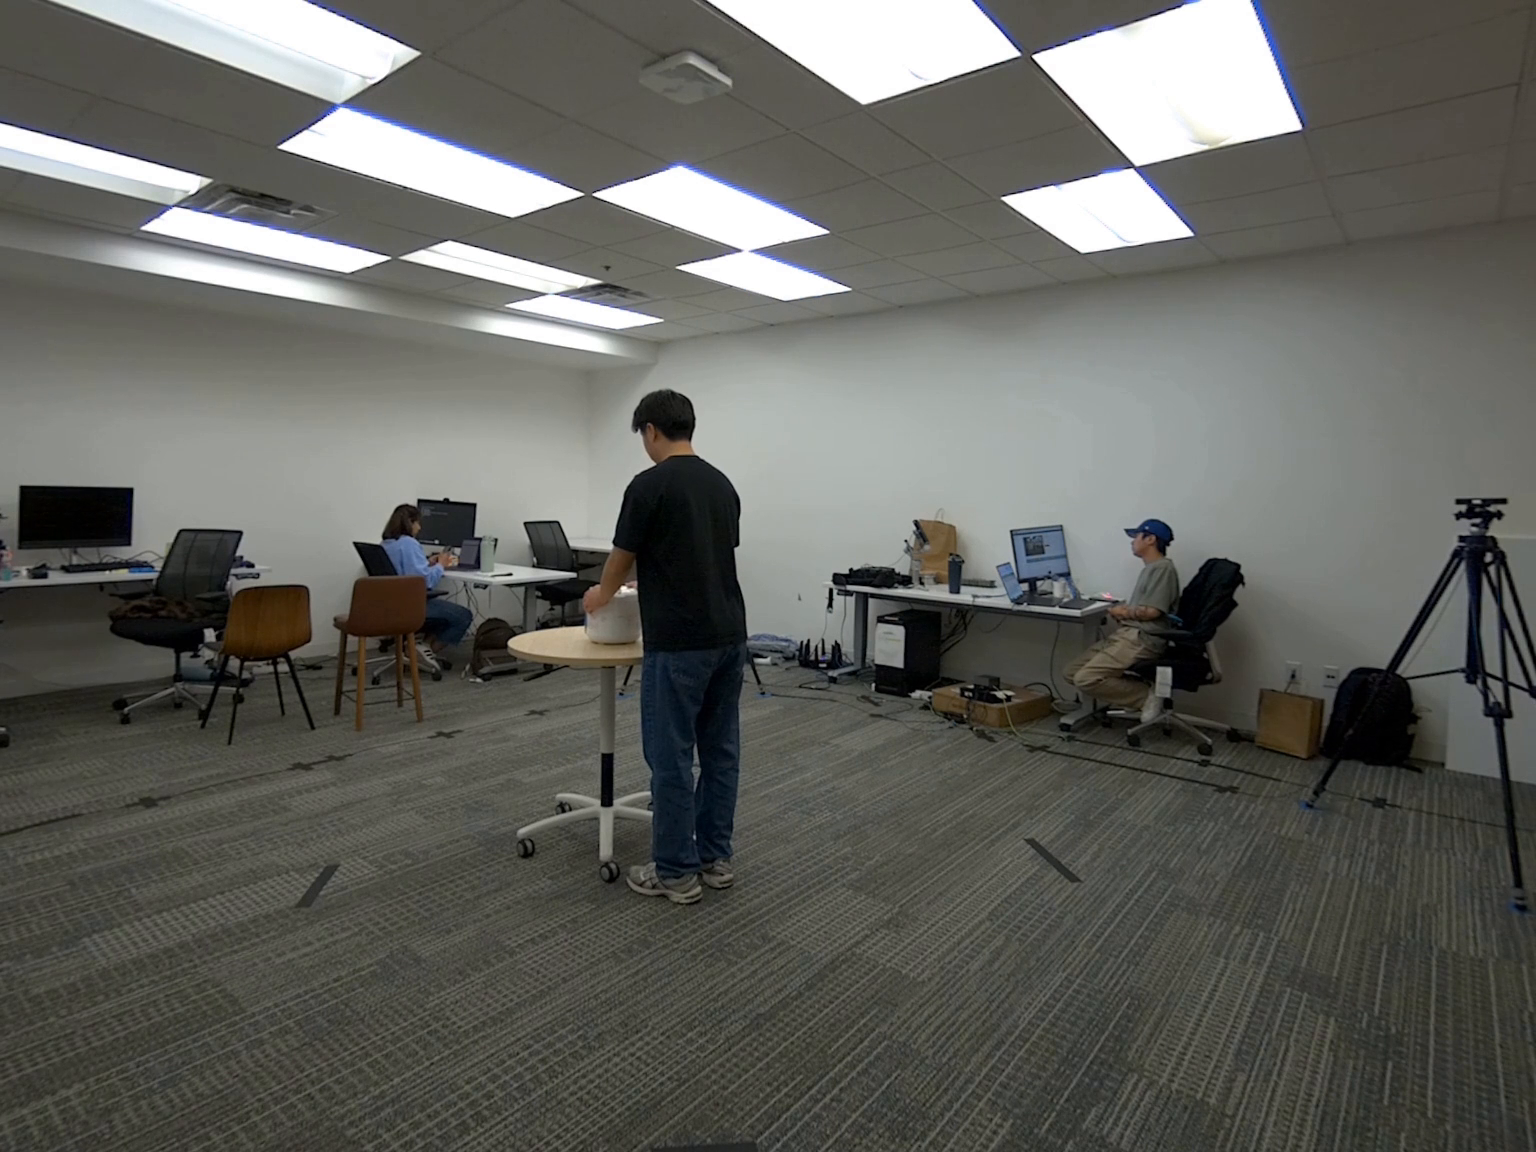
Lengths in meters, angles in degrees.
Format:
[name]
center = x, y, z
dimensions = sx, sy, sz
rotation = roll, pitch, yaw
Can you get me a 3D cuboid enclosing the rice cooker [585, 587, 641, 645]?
[rice cooker]
center = -0.603, 0.134, 3.291
dimensions = 0.213, 0.232, 0.226
rotation = 0, 5, -20
